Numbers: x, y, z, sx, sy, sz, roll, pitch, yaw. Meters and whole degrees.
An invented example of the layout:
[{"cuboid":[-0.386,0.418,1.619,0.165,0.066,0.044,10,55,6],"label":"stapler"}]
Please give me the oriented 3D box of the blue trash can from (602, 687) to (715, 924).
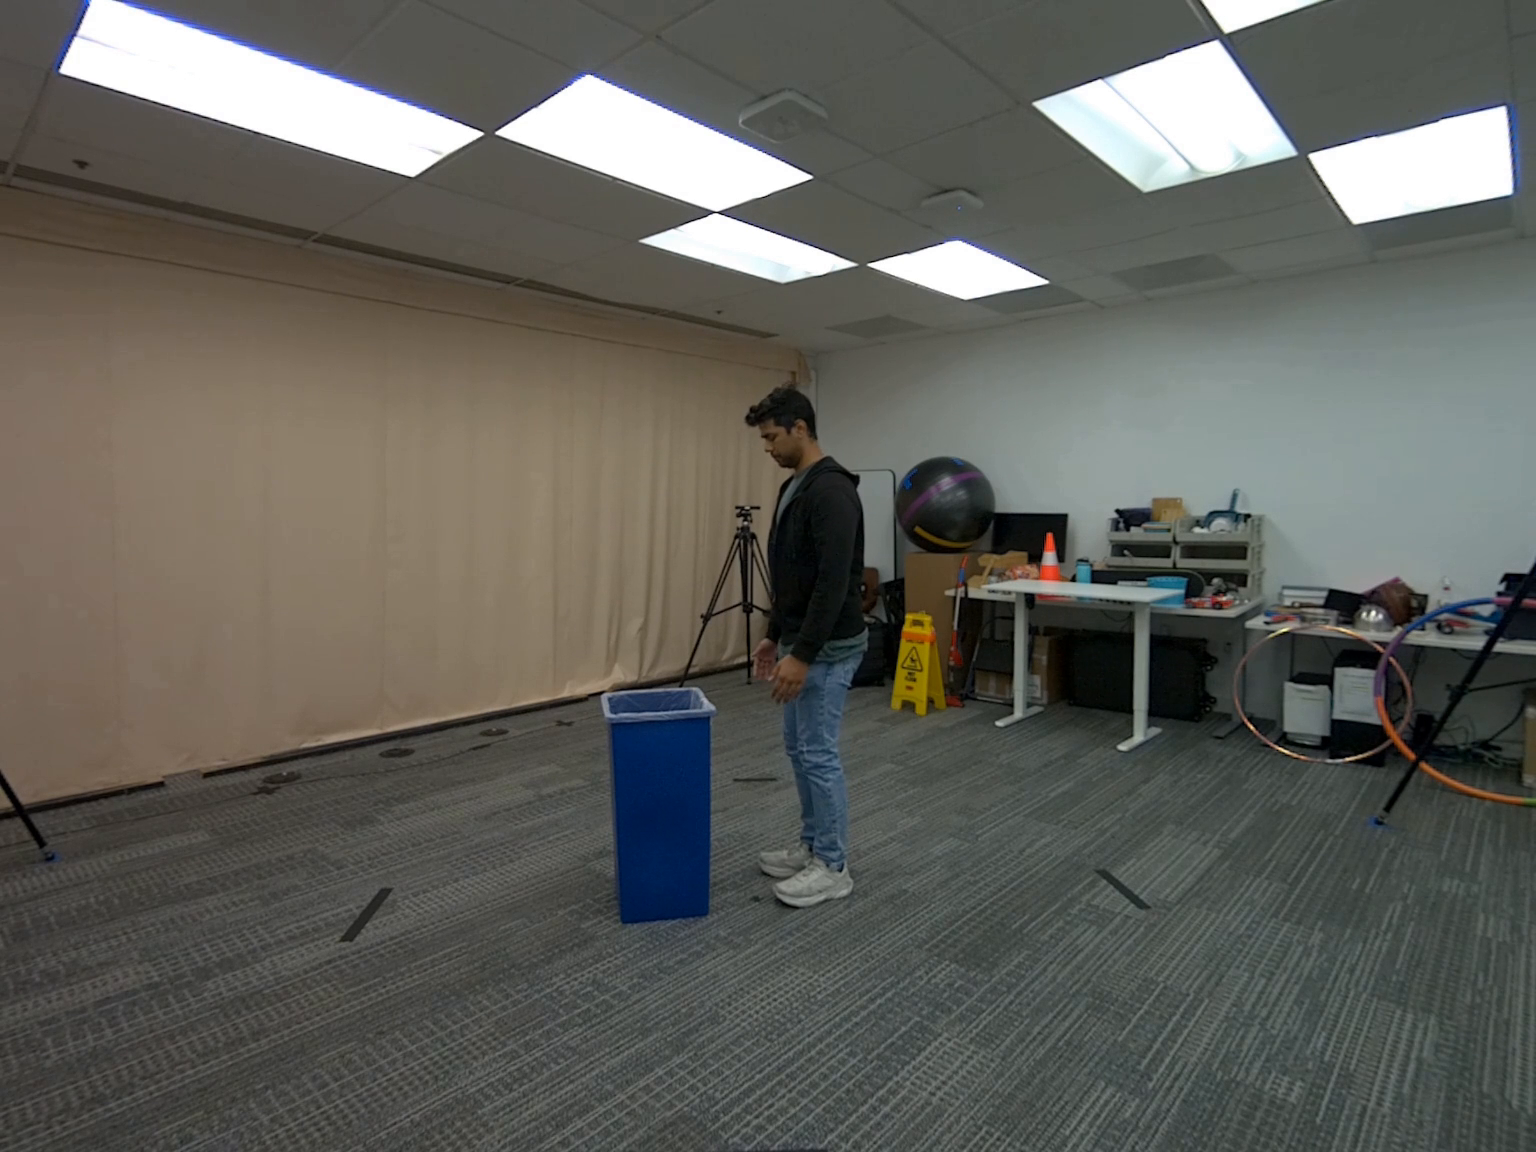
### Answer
[{"cuboid":[-0.393,0.795,2.961,0.369,0.712,0.383,-2,3,-13],"label":"blue trash can"}]
